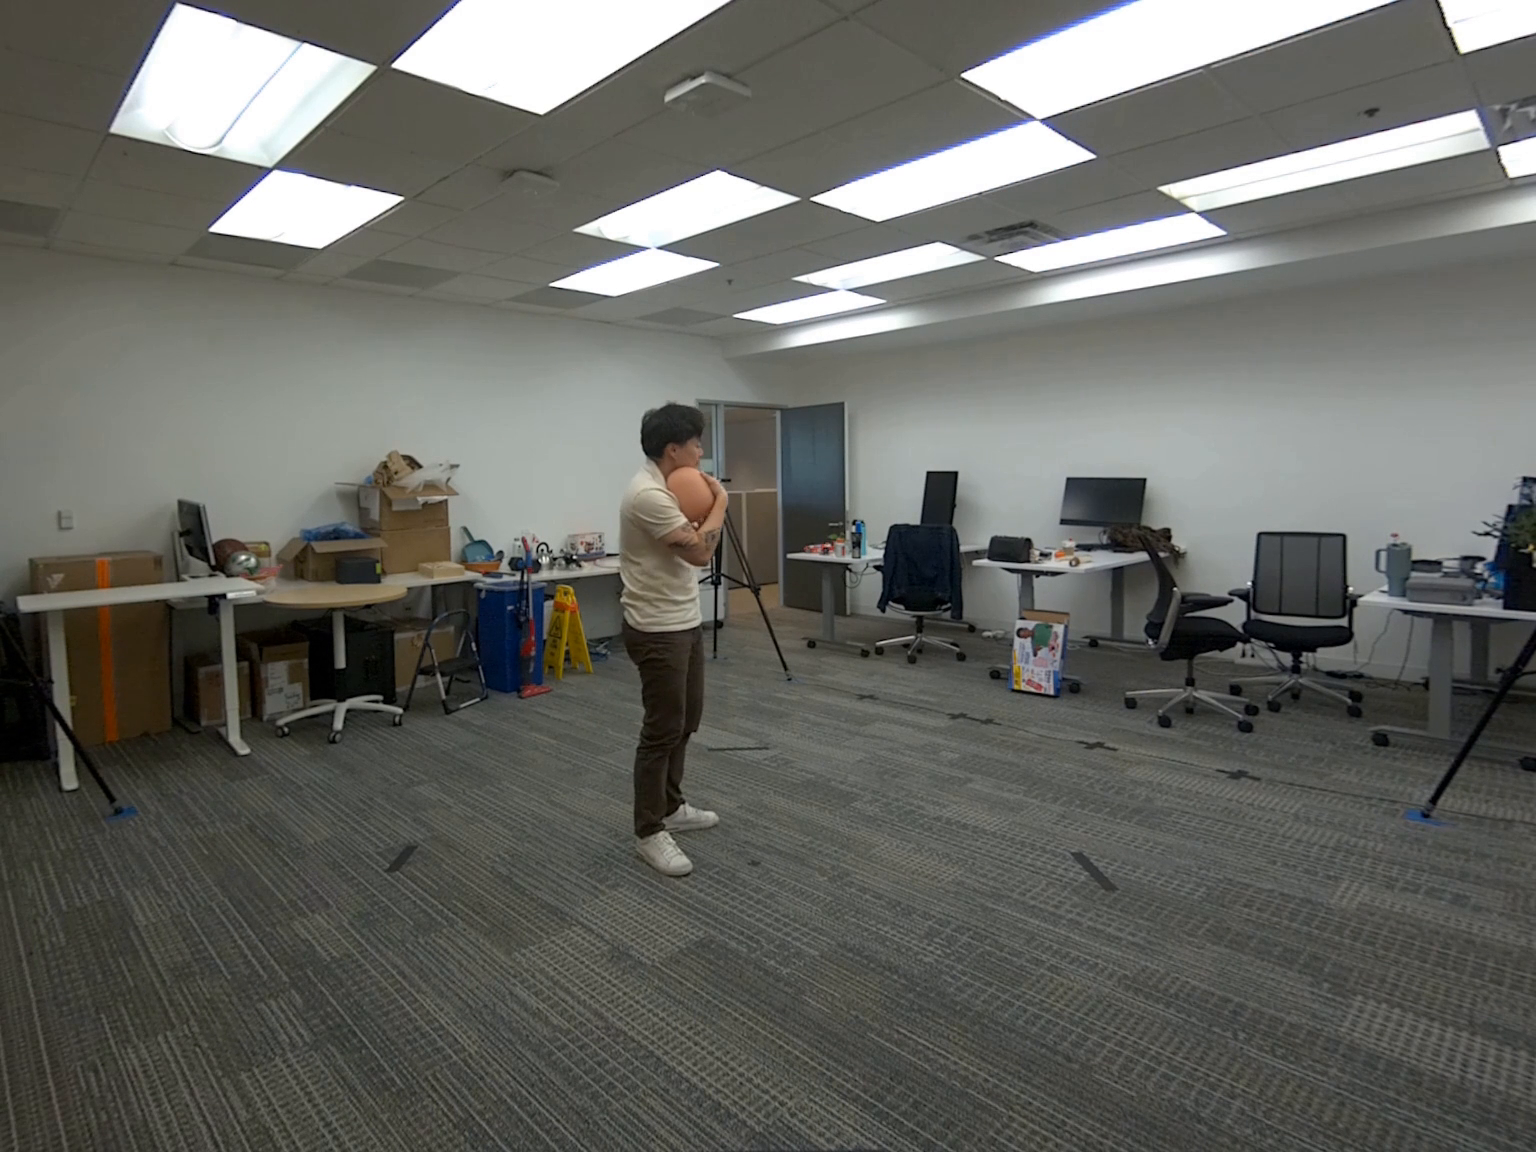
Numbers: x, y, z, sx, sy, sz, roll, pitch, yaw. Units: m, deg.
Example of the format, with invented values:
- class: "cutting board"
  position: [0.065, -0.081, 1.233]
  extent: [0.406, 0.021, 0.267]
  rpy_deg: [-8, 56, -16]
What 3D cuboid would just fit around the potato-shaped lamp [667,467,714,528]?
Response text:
- class: "potato-shaped lamp"
  position: [-0.296, -0.298, 3.132]
  extent: [0.171, 0.197, 0.165]
  rpy_deg: [-44, 3, -1]
